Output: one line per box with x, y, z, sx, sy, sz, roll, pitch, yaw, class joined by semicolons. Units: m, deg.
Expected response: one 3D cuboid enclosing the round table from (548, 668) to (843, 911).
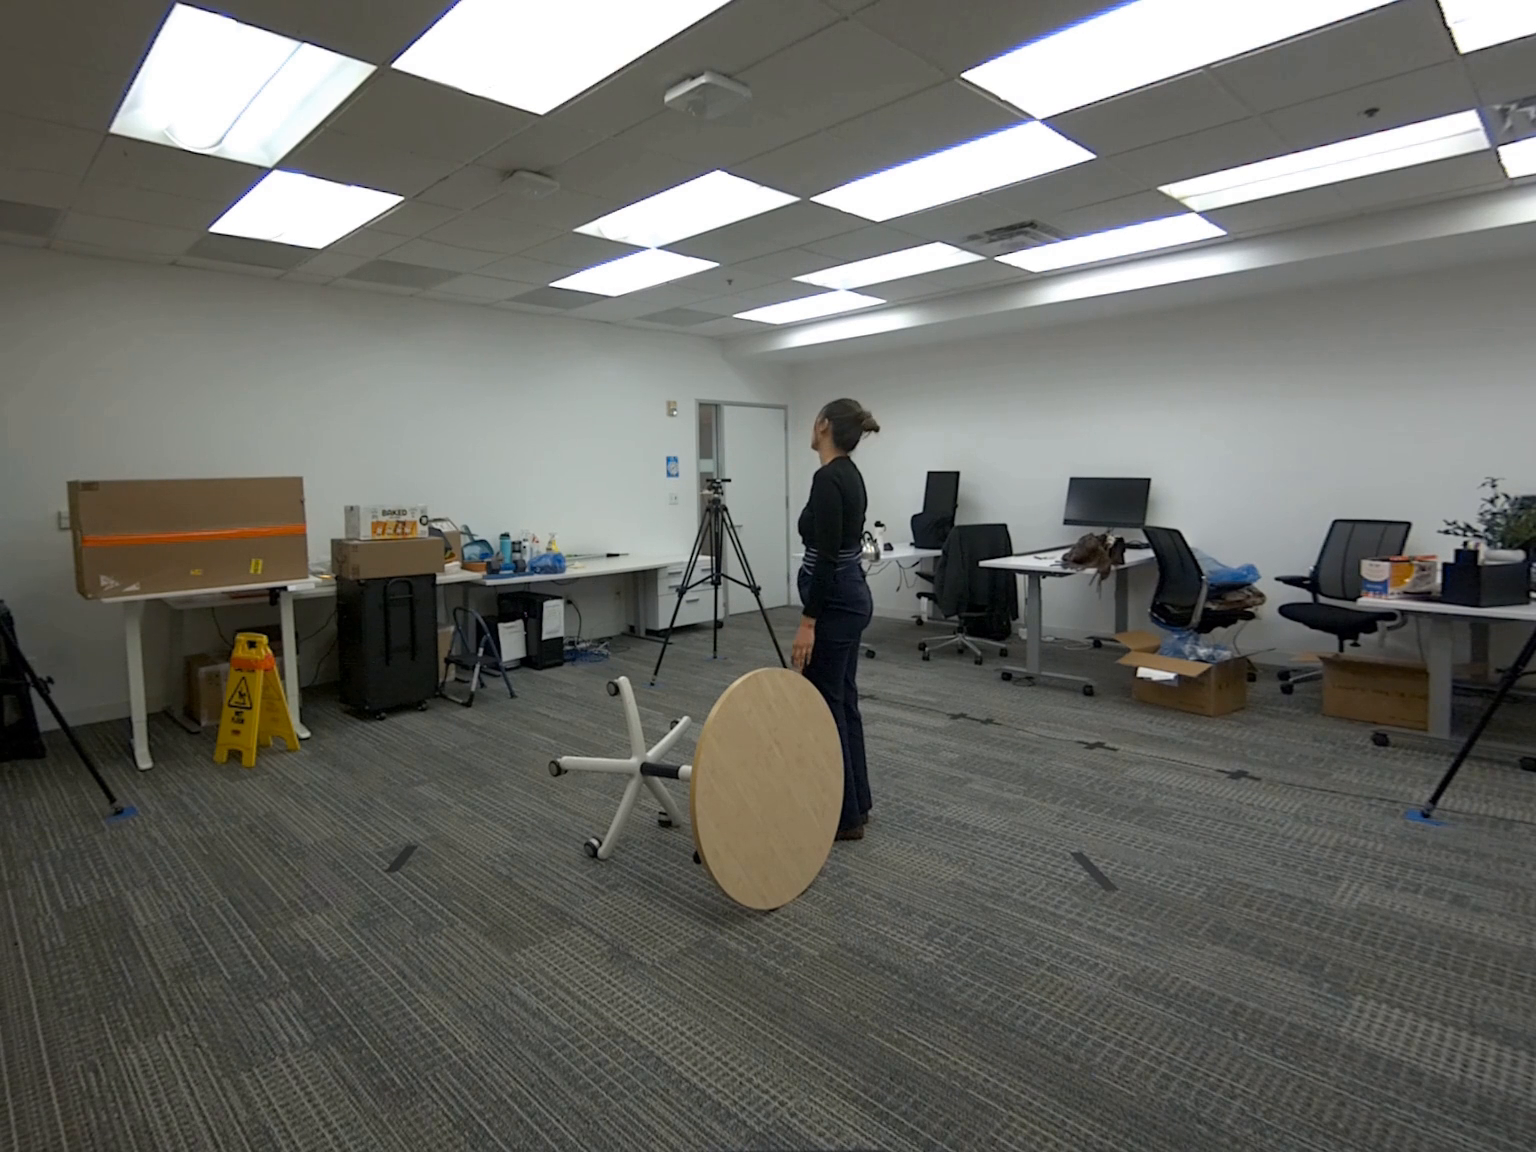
-0.270;0.721;3.097;0.814;0.765;0.744;-7;0;41;round table
